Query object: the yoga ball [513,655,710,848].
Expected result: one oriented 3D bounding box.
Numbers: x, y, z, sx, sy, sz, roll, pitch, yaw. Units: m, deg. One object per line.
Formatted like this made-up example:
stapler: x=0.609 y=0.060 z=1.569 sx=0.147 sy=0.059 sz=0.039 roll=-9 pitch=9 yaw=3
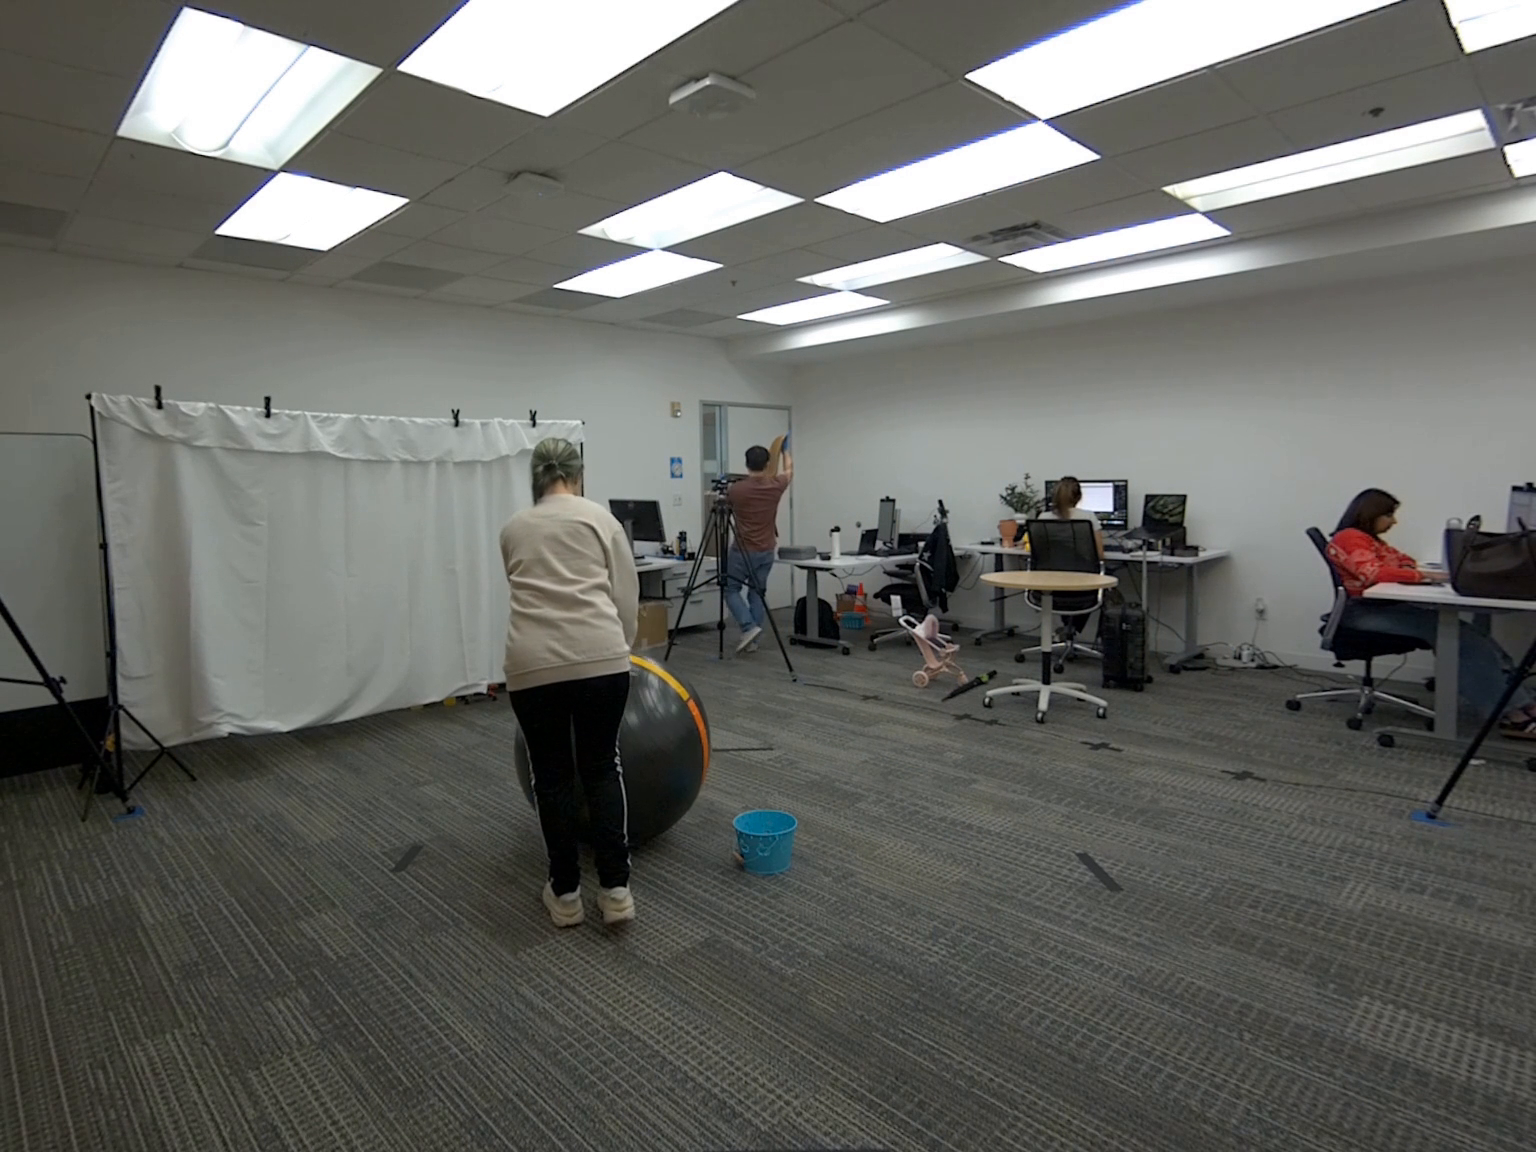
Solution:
yoga ball: x=-0.605 y=0.668 z=3.340 sx=0.757 sy=0.755 sz=0.762 roll=-1 pitch=5 yaw=-2
